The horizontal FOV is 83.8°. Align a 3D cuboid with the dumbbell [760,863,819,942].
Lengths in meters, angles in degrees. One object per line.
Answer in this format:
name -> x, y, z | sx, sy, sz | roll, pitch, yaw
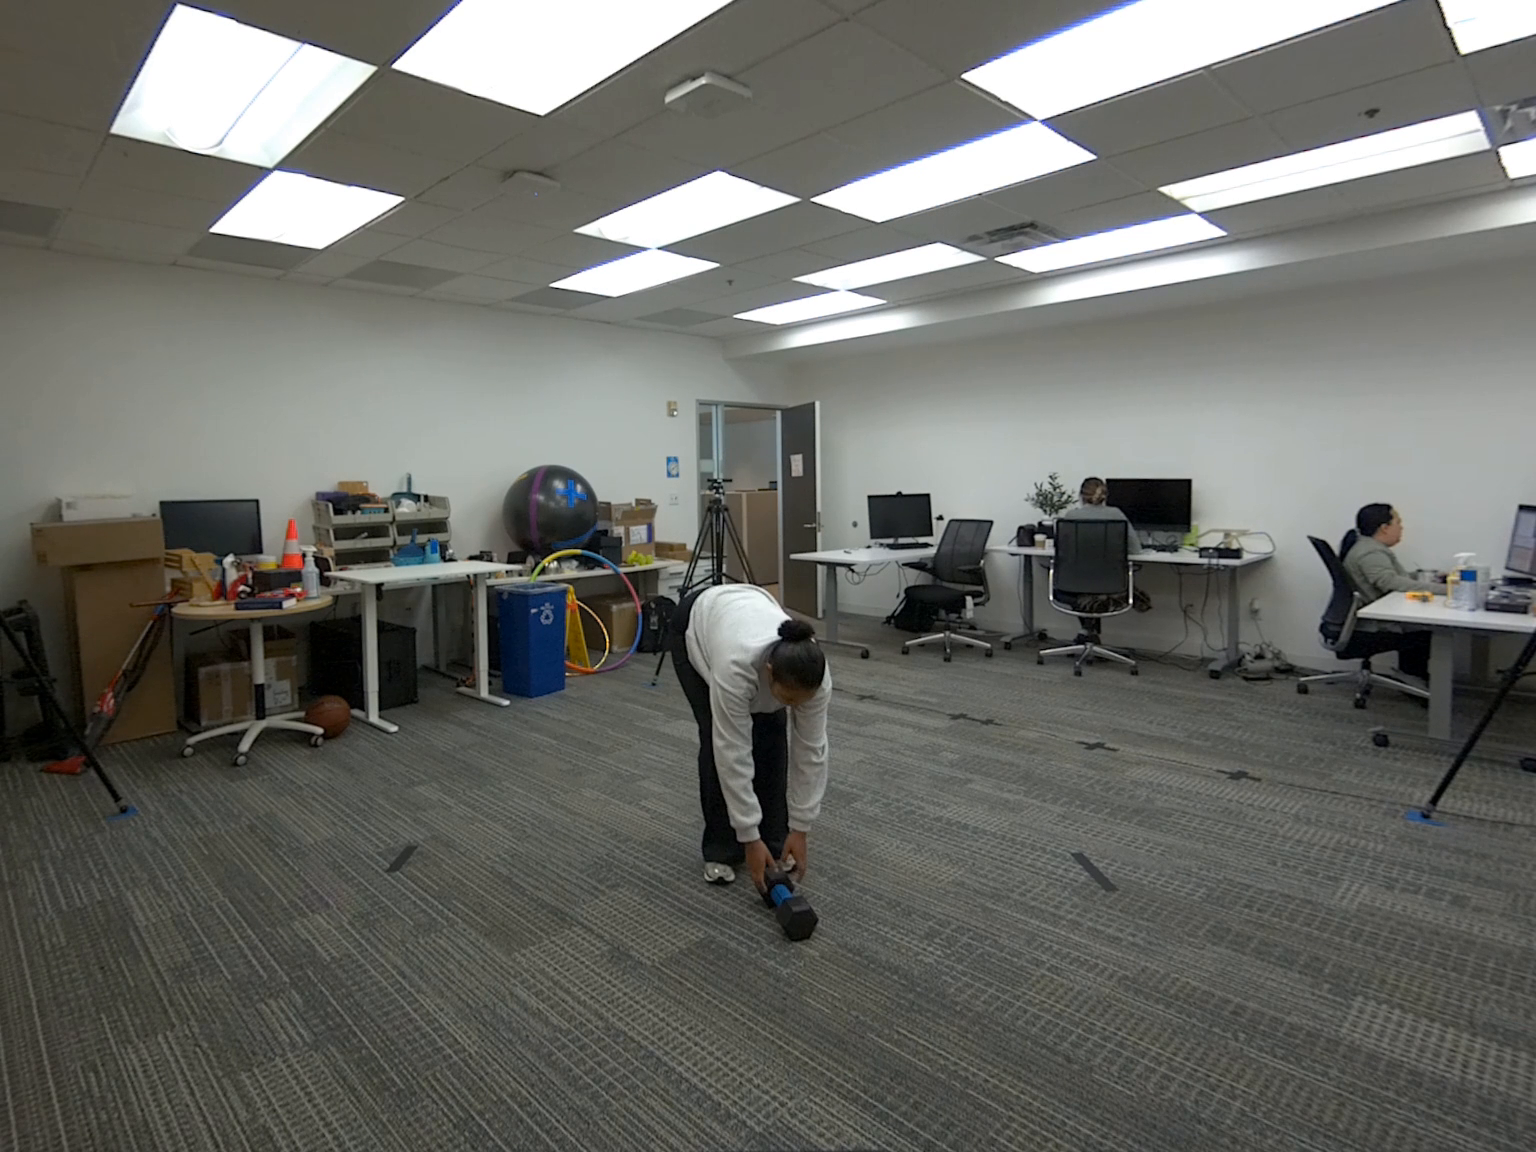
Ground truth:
dumbbell -> 0.056, 1.040, 2.712 | 0.108, 0.121, 0.299 | -32, 13, -11
